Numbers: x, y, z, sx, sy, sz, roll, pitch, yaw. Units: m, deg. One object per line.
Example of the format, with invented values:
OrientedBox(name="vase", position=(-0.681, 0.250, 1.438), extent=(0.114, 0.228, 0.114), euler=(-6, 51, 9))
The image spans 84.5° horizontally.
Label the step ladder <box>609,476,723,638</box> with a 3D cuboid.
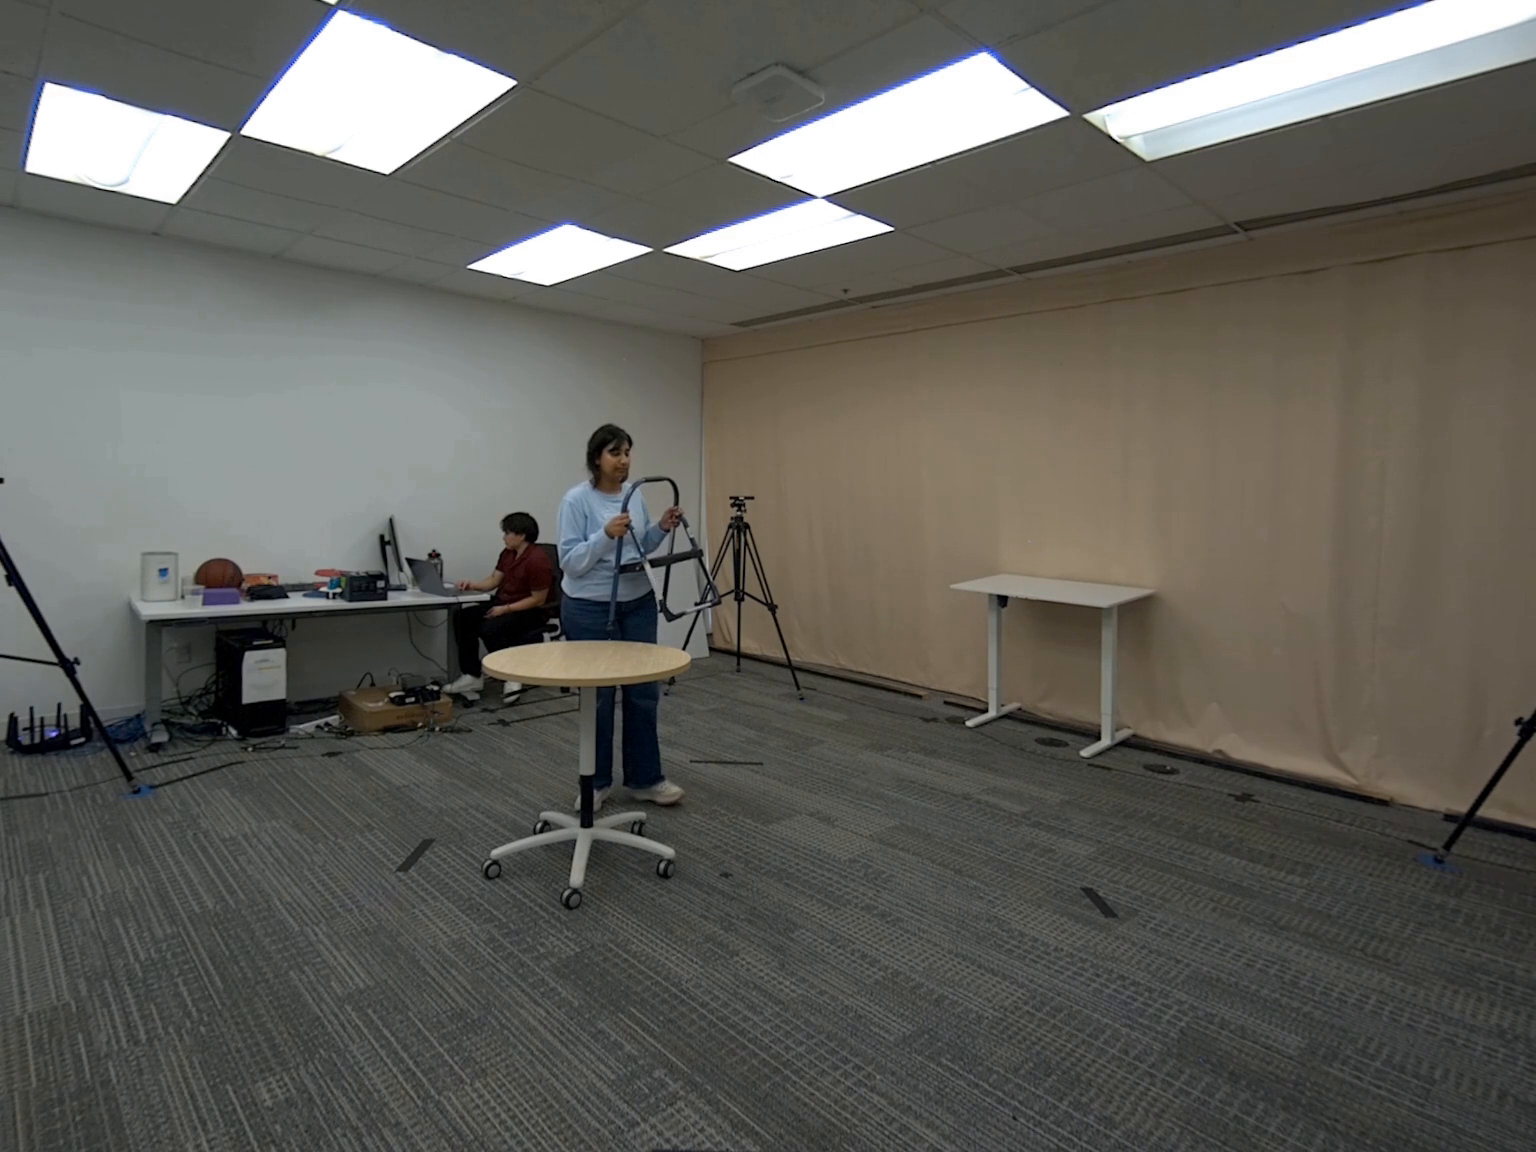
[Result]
OrientedBox(name="step ladder", position=(-0.507, -0.122, 3.668), extent=(0.355, 0.605, 0.424), euler=(-8, 3, 29))
